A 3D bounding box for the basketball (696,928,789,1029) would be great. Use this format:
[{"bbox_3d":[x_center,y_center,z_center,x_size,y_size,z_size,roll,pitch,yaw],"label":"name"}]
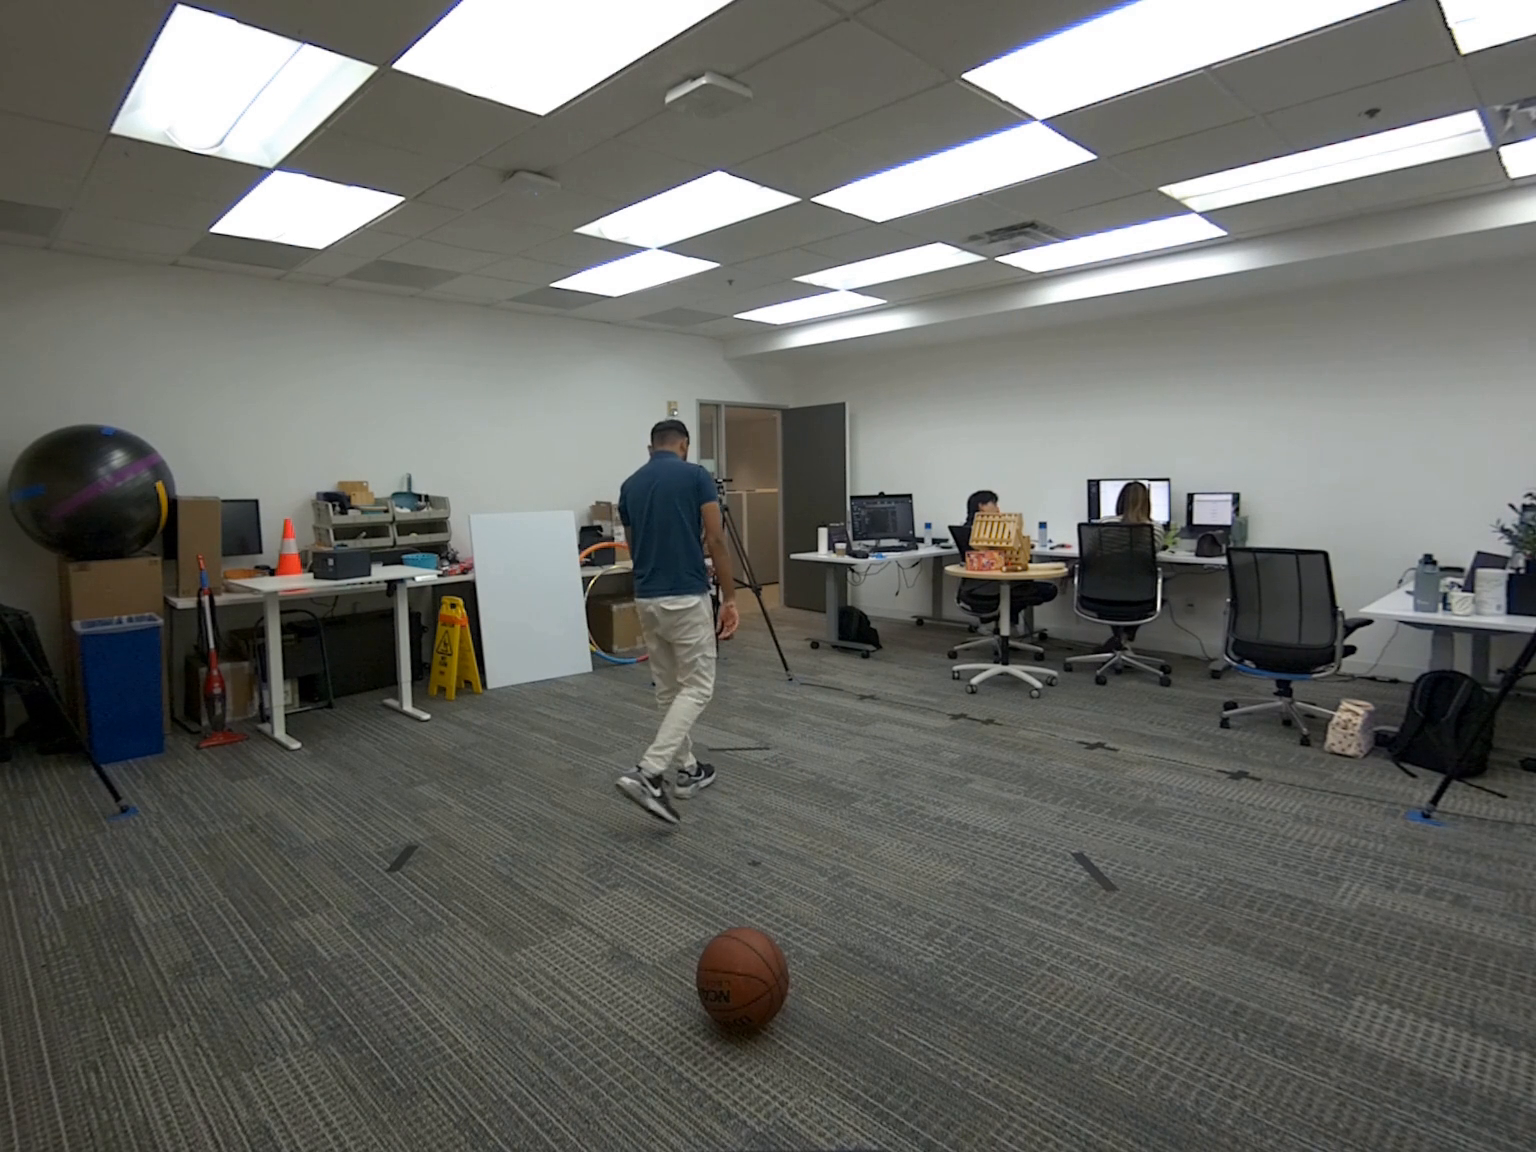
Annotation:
[{"bbox_3d":[-0.056,1.032,2.193,0.236,0.235,0.237,-1,5,-2],"label":"basketball"}]
